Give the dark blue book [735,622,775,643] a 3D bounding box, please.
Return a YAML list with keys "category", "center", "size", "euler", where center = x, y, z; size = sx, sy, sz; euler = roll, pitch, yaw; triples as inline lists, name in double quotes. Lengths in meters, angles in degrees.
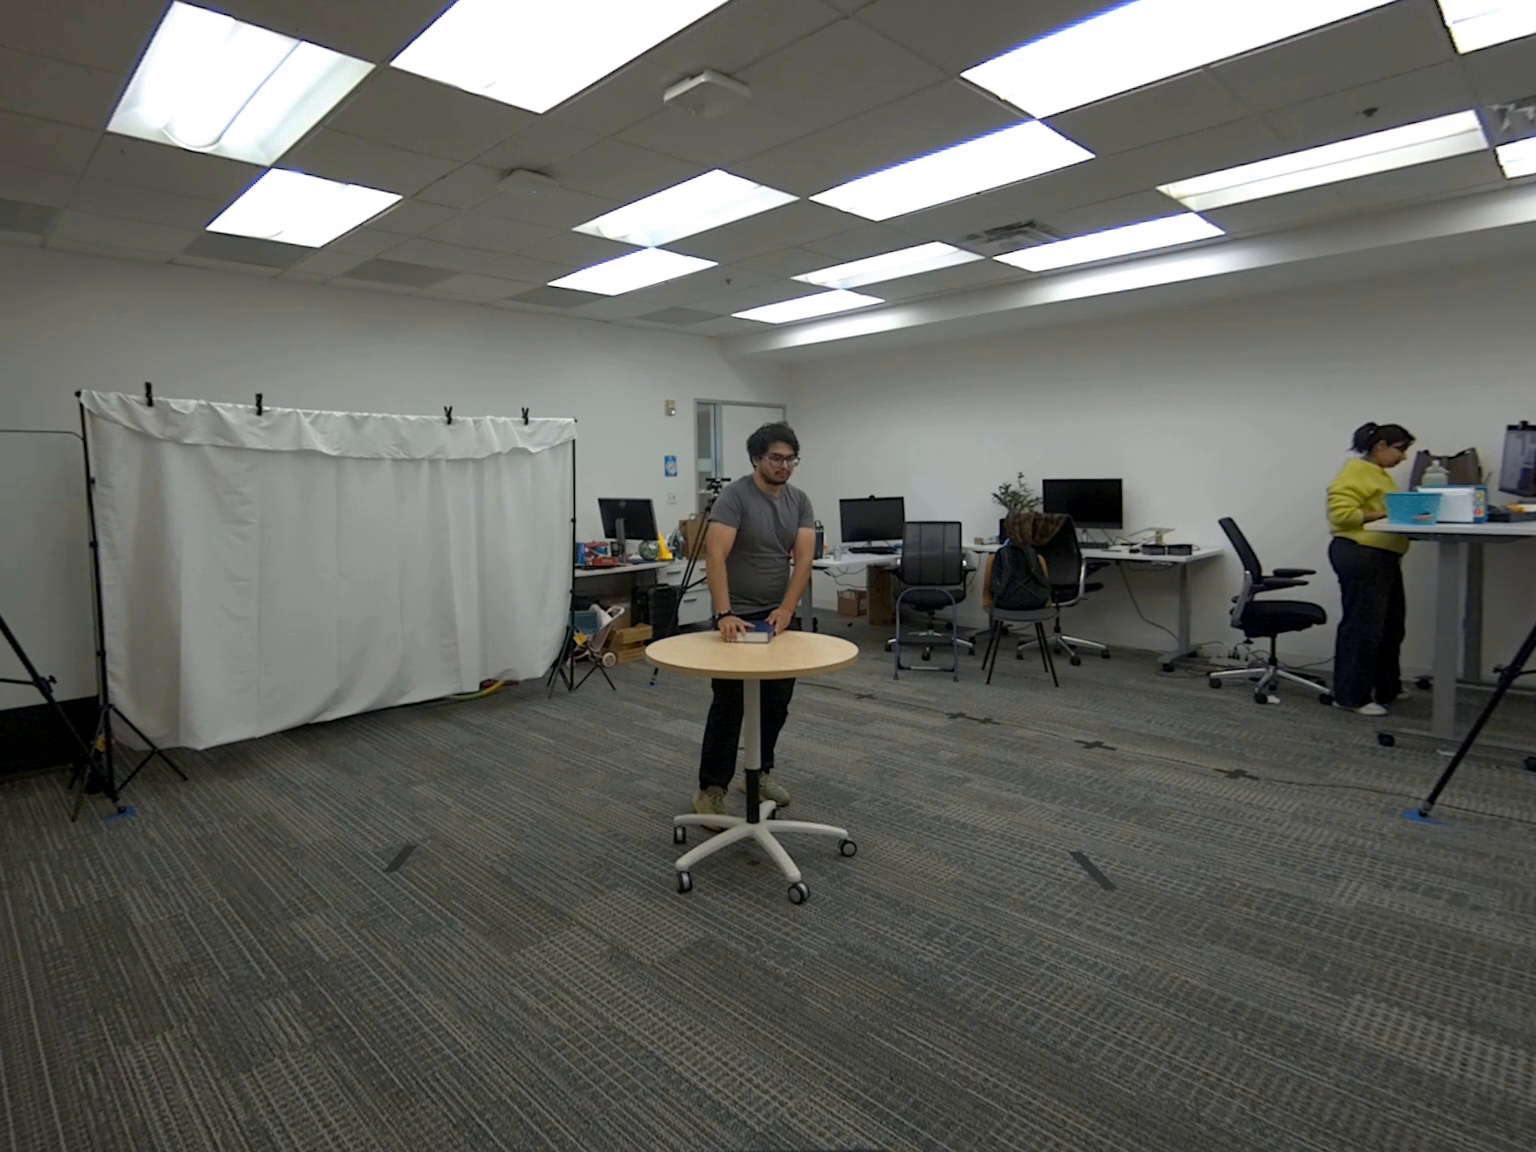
- category: "dark blue book"
  center: [-0.064, 0.219, 3.306]
  size: [0.165, 0.045, 0.244]
  euler: [0, 6, 9]
